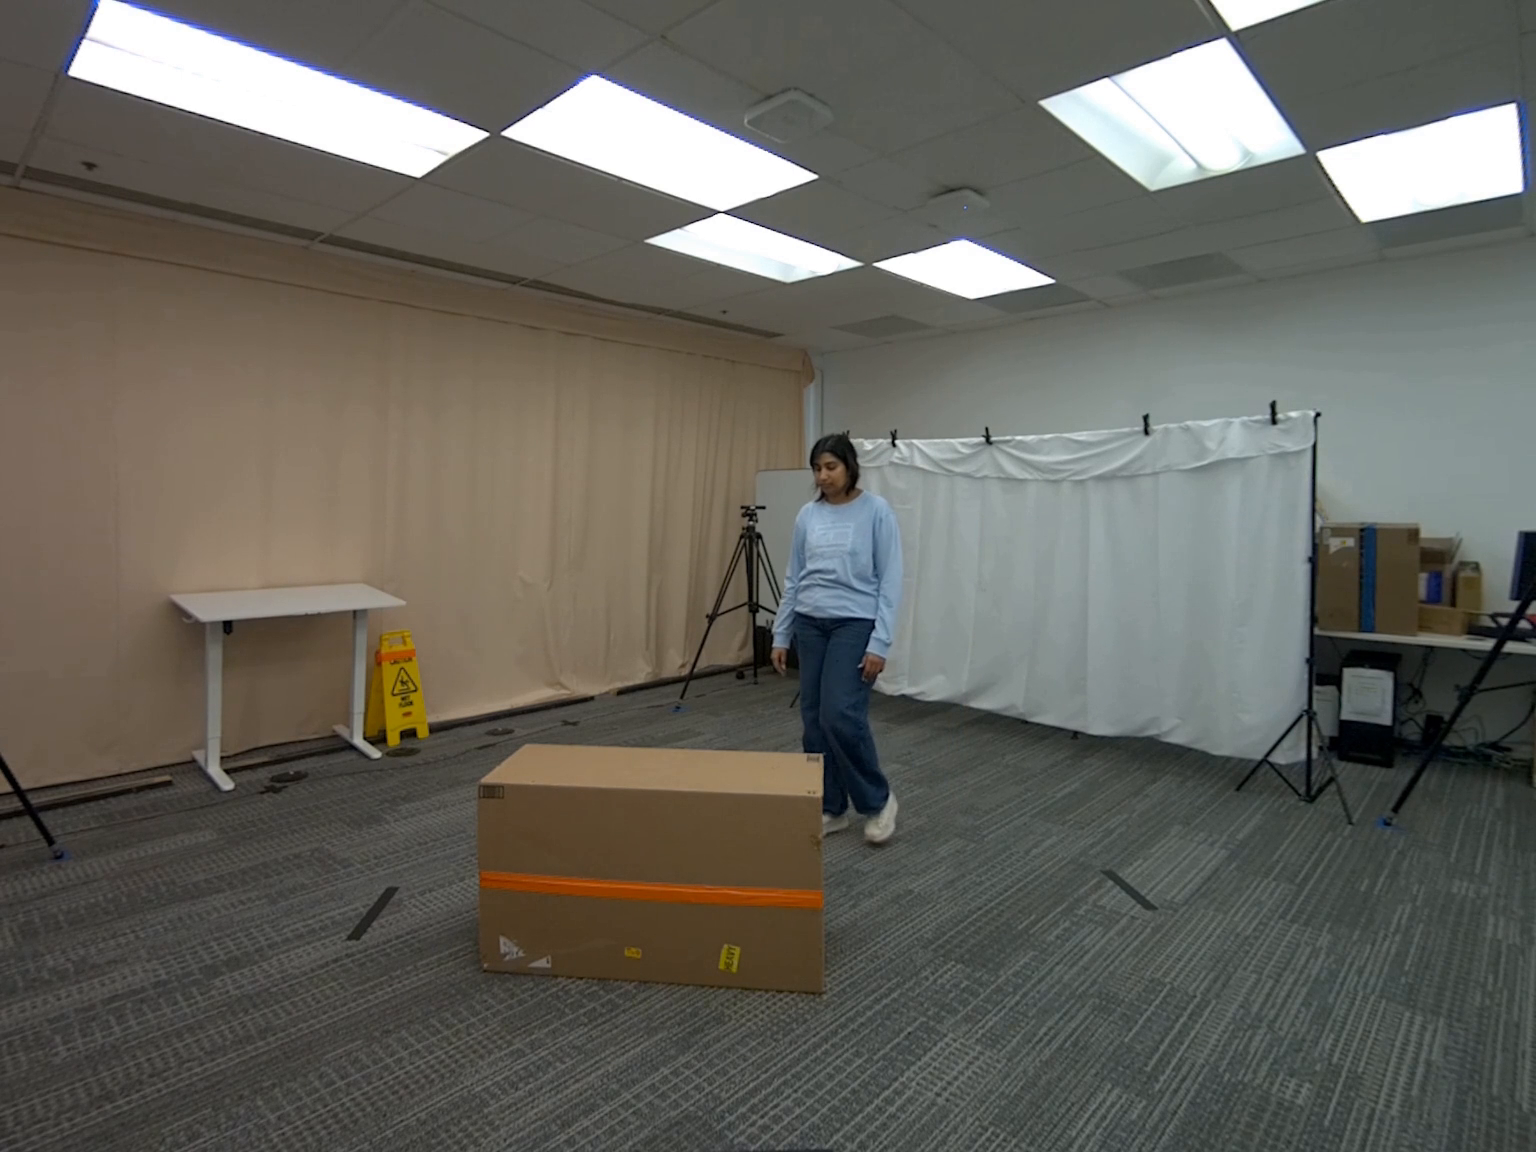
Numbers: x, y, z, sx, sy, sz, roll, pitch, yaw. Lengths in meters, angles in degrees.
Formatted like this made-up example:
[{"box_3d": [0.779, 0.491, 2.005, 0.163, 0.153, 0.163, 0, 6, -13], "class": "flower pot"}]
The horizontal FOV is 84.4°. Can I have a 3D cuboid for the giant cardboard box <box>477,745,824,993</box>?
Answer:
[{"box_3d": [-0.344, 0.882, 2.648, 1.034, 0.576, 0.424, 1, 4, 7], "class": "giant cardboard box"}]
